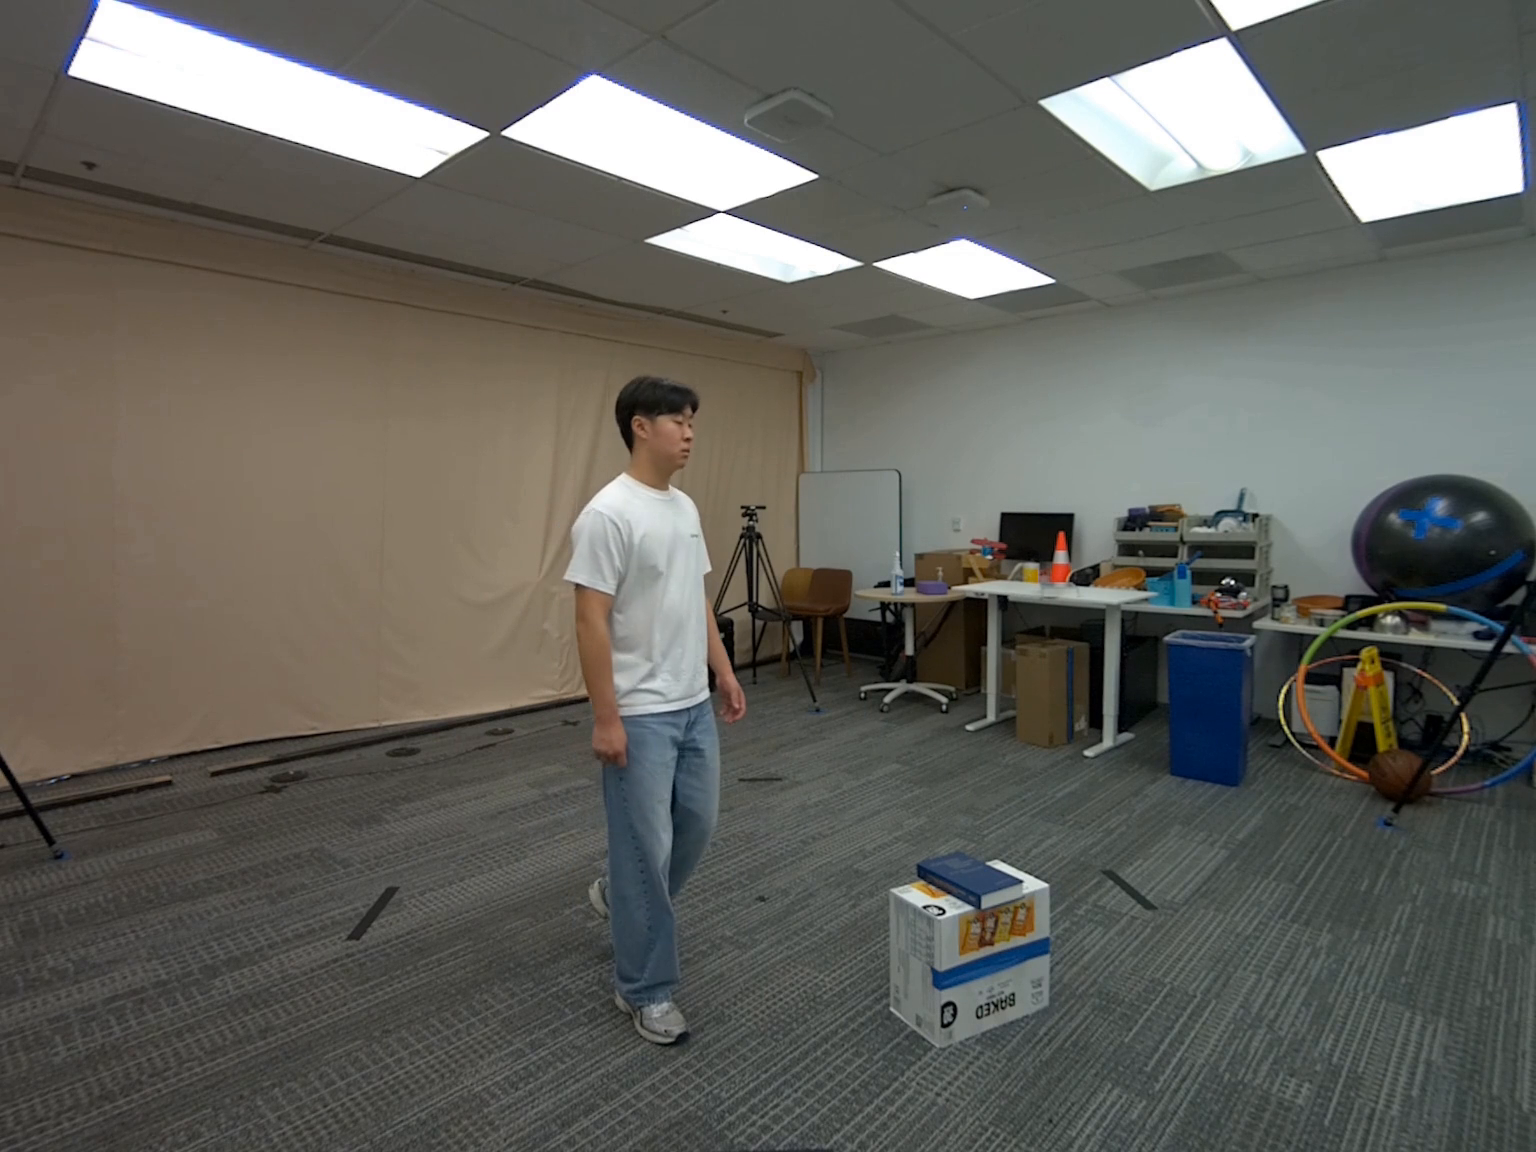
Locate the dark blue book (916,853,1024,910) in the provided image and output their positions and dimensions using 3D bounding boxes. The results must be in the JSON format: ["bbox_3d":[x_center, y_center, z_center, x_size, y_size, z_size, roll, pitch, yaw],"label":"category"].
[{"bbox_3d":[0.568,0.842,2.311,0.159,0.045,0.252,-3,4,-30],"label":"dark blue book"}]
